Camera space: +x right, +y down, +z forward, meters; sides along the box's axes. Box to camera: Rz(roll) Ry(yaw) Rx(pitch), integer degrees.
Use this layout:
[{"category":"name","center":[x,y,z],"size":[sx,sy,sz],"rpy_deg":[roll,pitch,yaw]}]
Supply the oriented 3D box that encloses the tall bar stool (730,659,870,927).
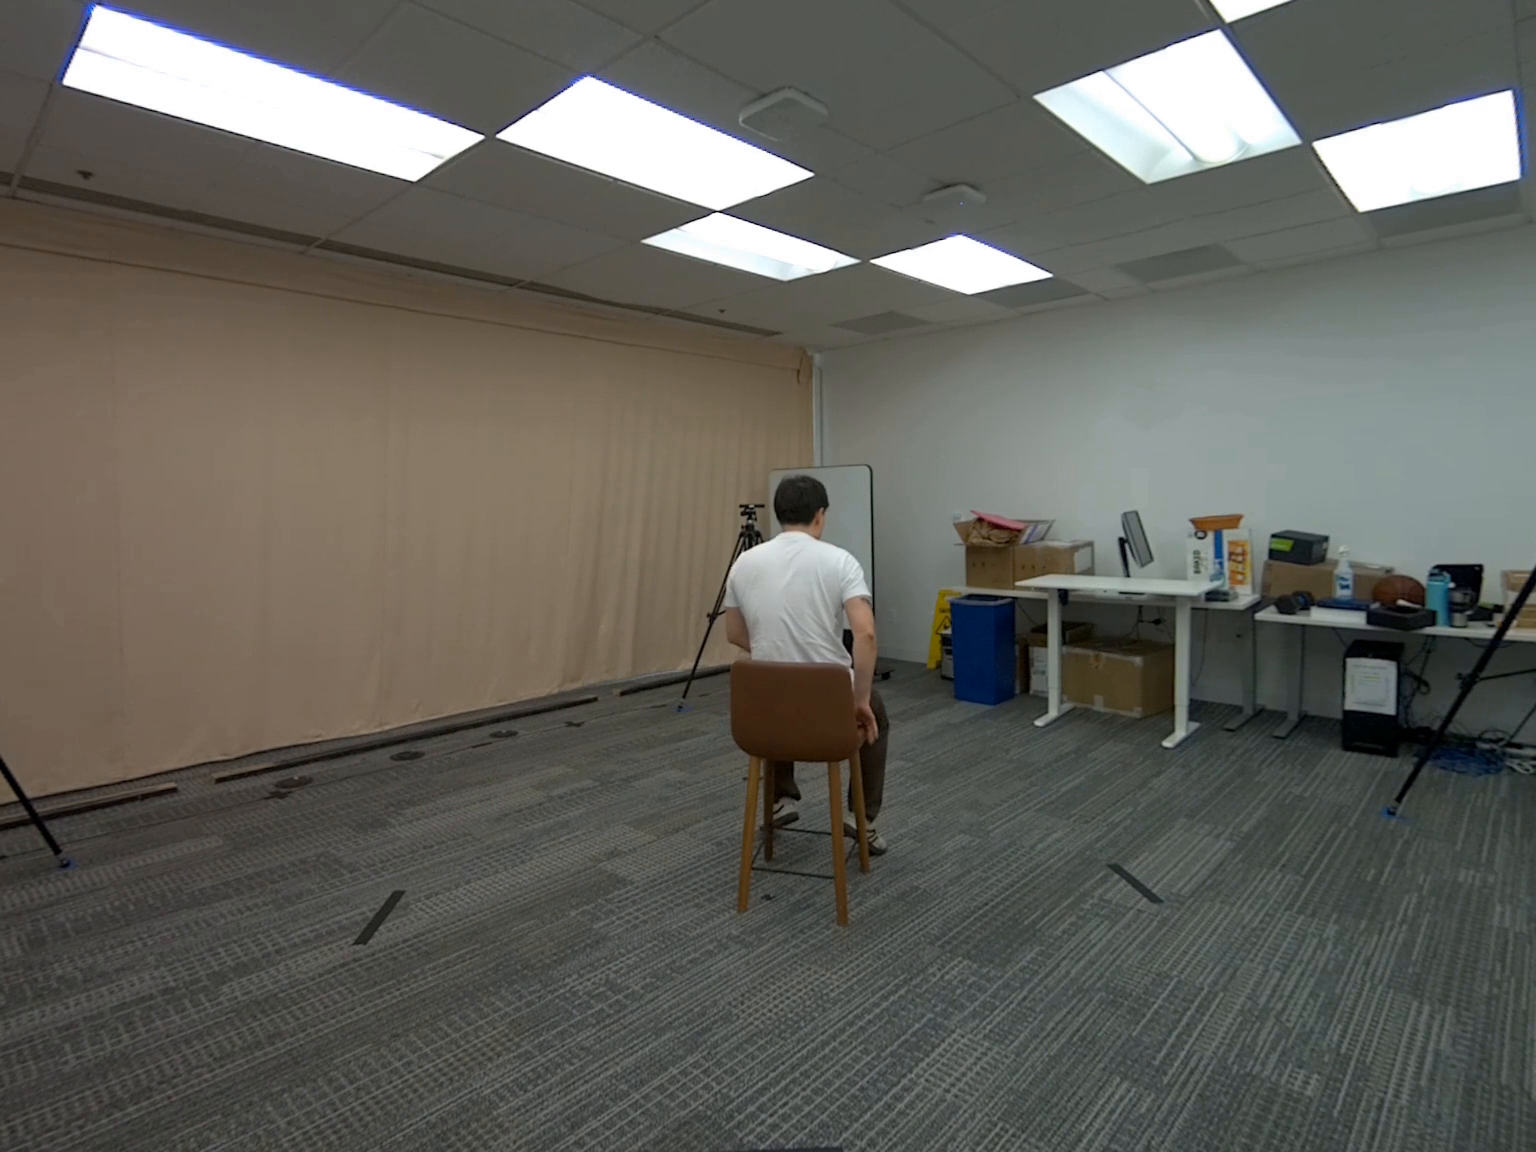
[{"category":"tall bar stool","center":[0.125,0.705,3.007],"size":[0.465,0.887,0.460],"rpy_deg":[0,5,17]}]
